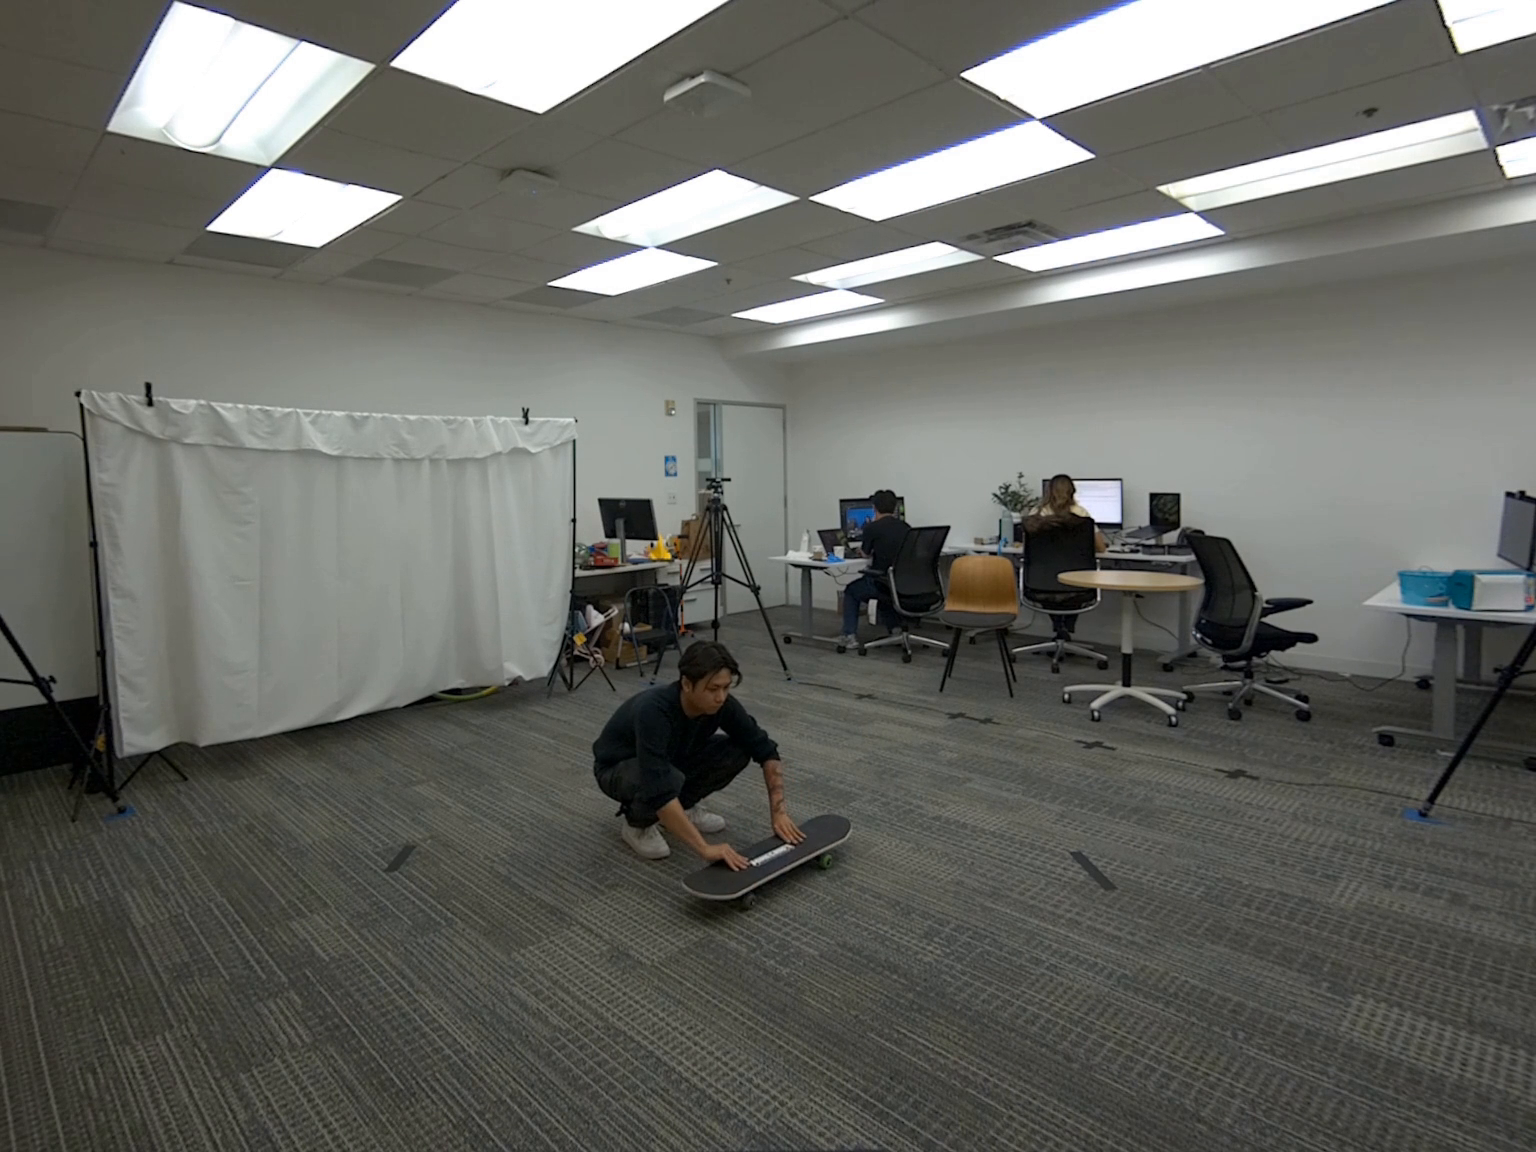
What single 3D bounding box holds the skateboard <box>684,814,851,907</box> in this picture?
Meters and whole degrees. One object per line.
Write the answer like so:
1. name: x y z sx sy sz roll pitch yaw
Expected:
1. skateboard: 0.016 0.986 2.960 0.200 0.109 0.765 10 13 42
